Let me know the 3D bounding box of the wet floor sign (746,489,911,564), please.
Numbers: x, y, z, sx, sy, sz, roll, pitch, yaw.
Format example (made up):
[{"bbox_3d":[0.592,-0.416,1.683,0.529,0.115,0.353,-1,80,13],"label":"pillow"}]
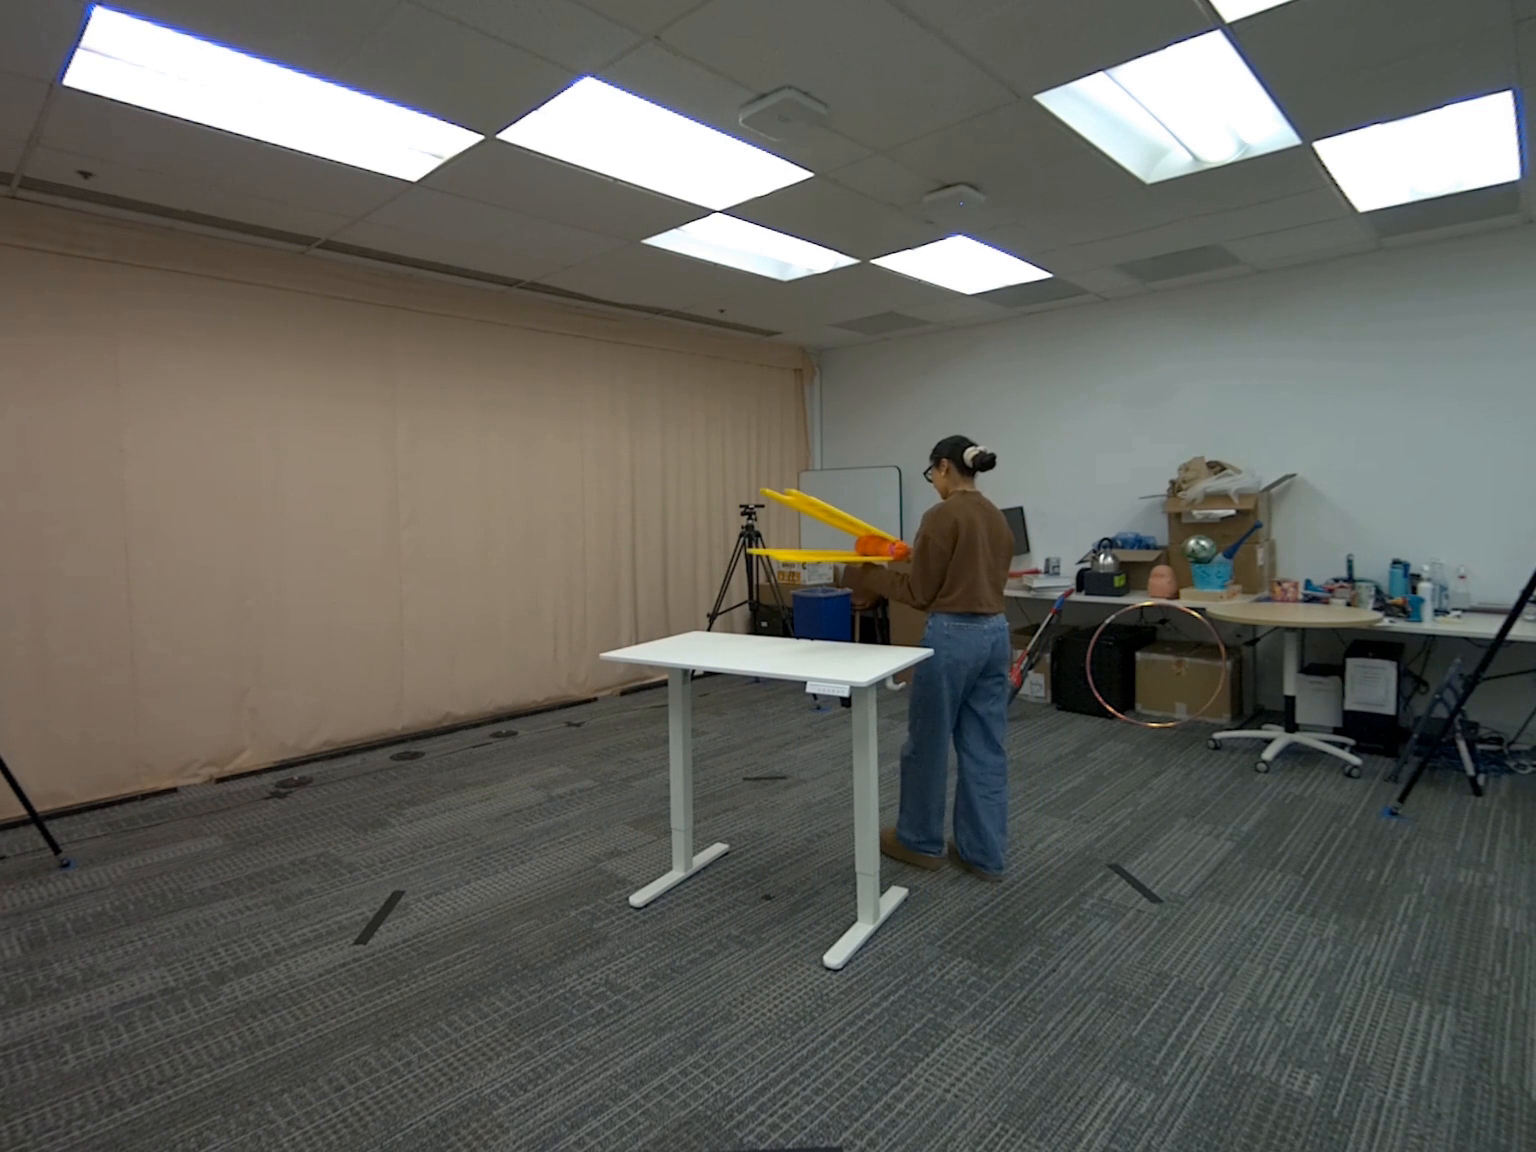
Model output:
[{"bbox_3d":[0.285,-0.133,3.218,0.628,0.289,0.290,10,2,-28],"label":"wet floor sign"}]
